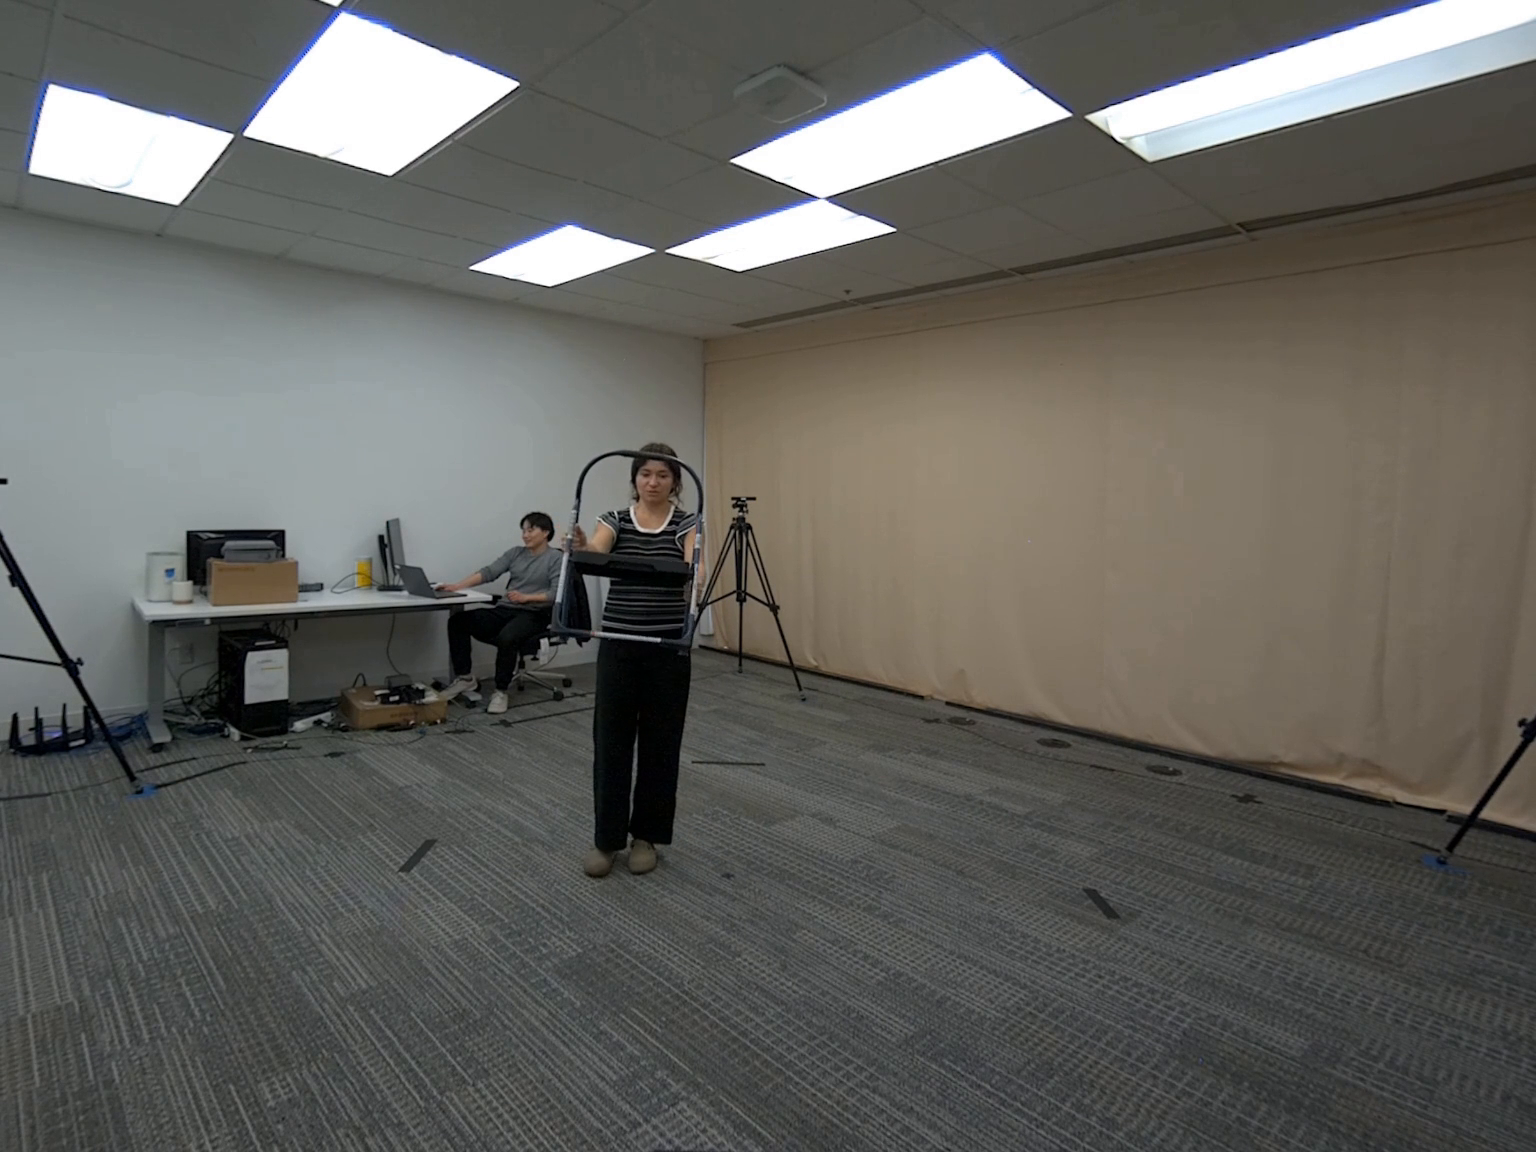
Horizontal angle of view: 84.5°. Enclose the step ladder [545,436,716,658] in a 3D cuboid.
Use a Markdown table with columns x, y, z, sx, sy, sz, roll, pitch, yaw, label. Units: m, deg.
| x | y | z | sx | sy | sz | roll | pitch | yaw | label |
| --- | --- | --- | --- | --- | --- | --- | --- | --- | --- |
| -0.425 | -0.074 | 2.657 | 0.428 | 0.610 | 0.349 | 6 | -10 | -6 | step ladder |
